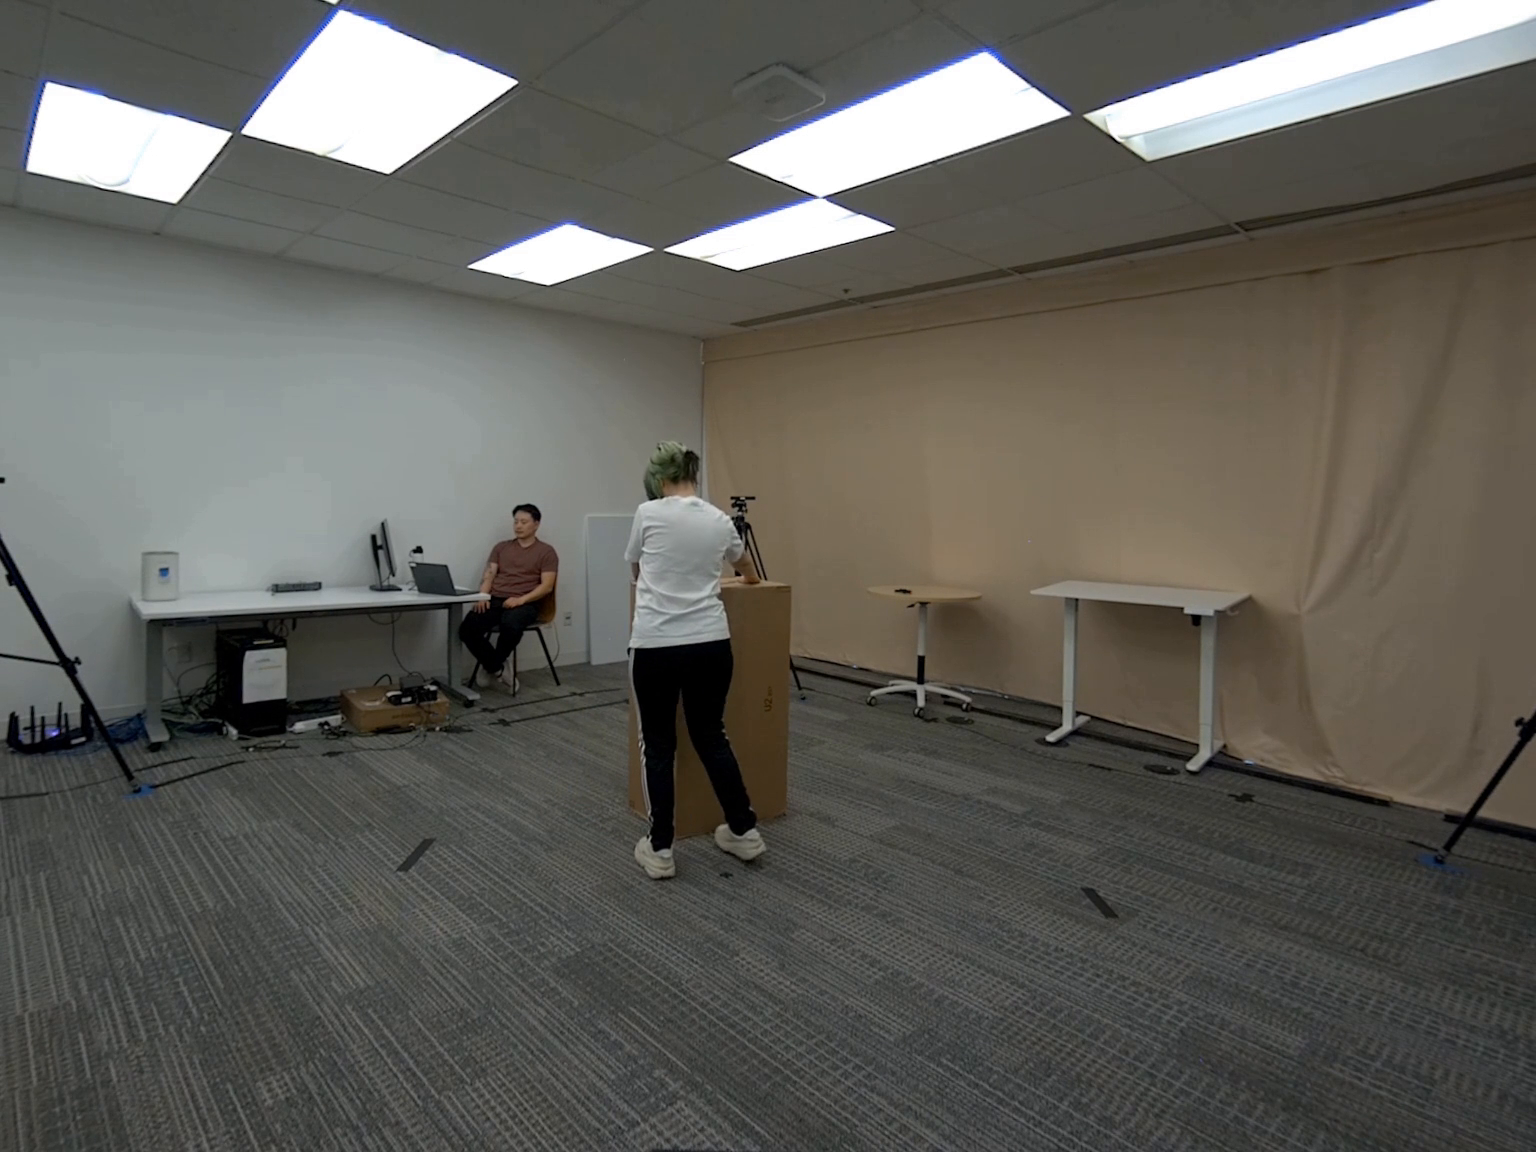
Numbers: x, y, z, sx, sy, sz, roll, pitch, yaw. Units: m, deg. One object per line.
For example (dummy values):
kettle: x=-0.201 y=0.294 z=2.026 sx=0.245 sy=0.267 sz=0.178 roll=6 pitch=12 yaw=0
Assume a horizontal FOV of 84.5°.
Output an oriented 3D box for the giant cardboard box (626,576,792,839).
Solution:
giant cardboard box: x=-0.269 y=0.546 z=3.723 sx=0.571 sy=1.024 sz=0.458 roll=-1 pitch=5 yaw=-36
